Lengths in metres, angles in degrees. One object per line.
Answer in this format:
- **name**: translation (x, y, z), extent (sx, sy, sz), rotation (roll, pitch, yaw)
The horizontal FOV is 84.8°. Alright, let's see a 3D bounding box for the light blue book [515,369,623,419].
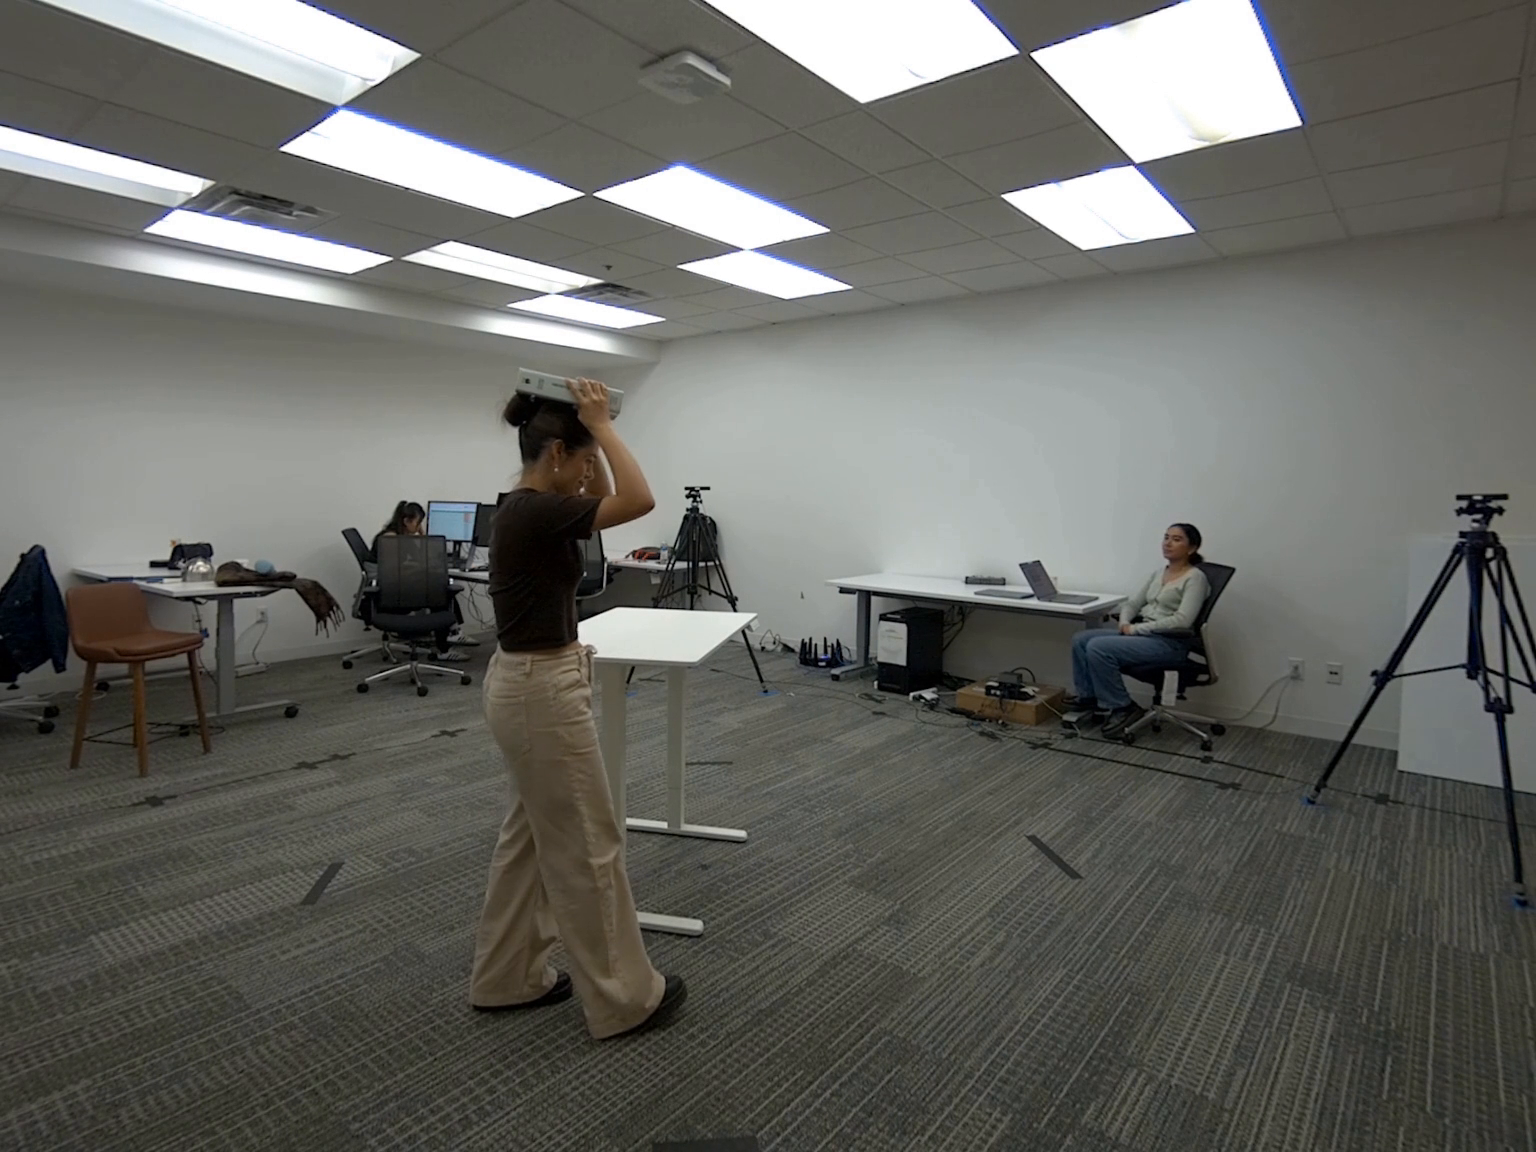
- **light blue book**: translation (-0.521, -0.469, 2.191), extent (0.258, 0.059, 0.194), rotation (12, 3, -9)
